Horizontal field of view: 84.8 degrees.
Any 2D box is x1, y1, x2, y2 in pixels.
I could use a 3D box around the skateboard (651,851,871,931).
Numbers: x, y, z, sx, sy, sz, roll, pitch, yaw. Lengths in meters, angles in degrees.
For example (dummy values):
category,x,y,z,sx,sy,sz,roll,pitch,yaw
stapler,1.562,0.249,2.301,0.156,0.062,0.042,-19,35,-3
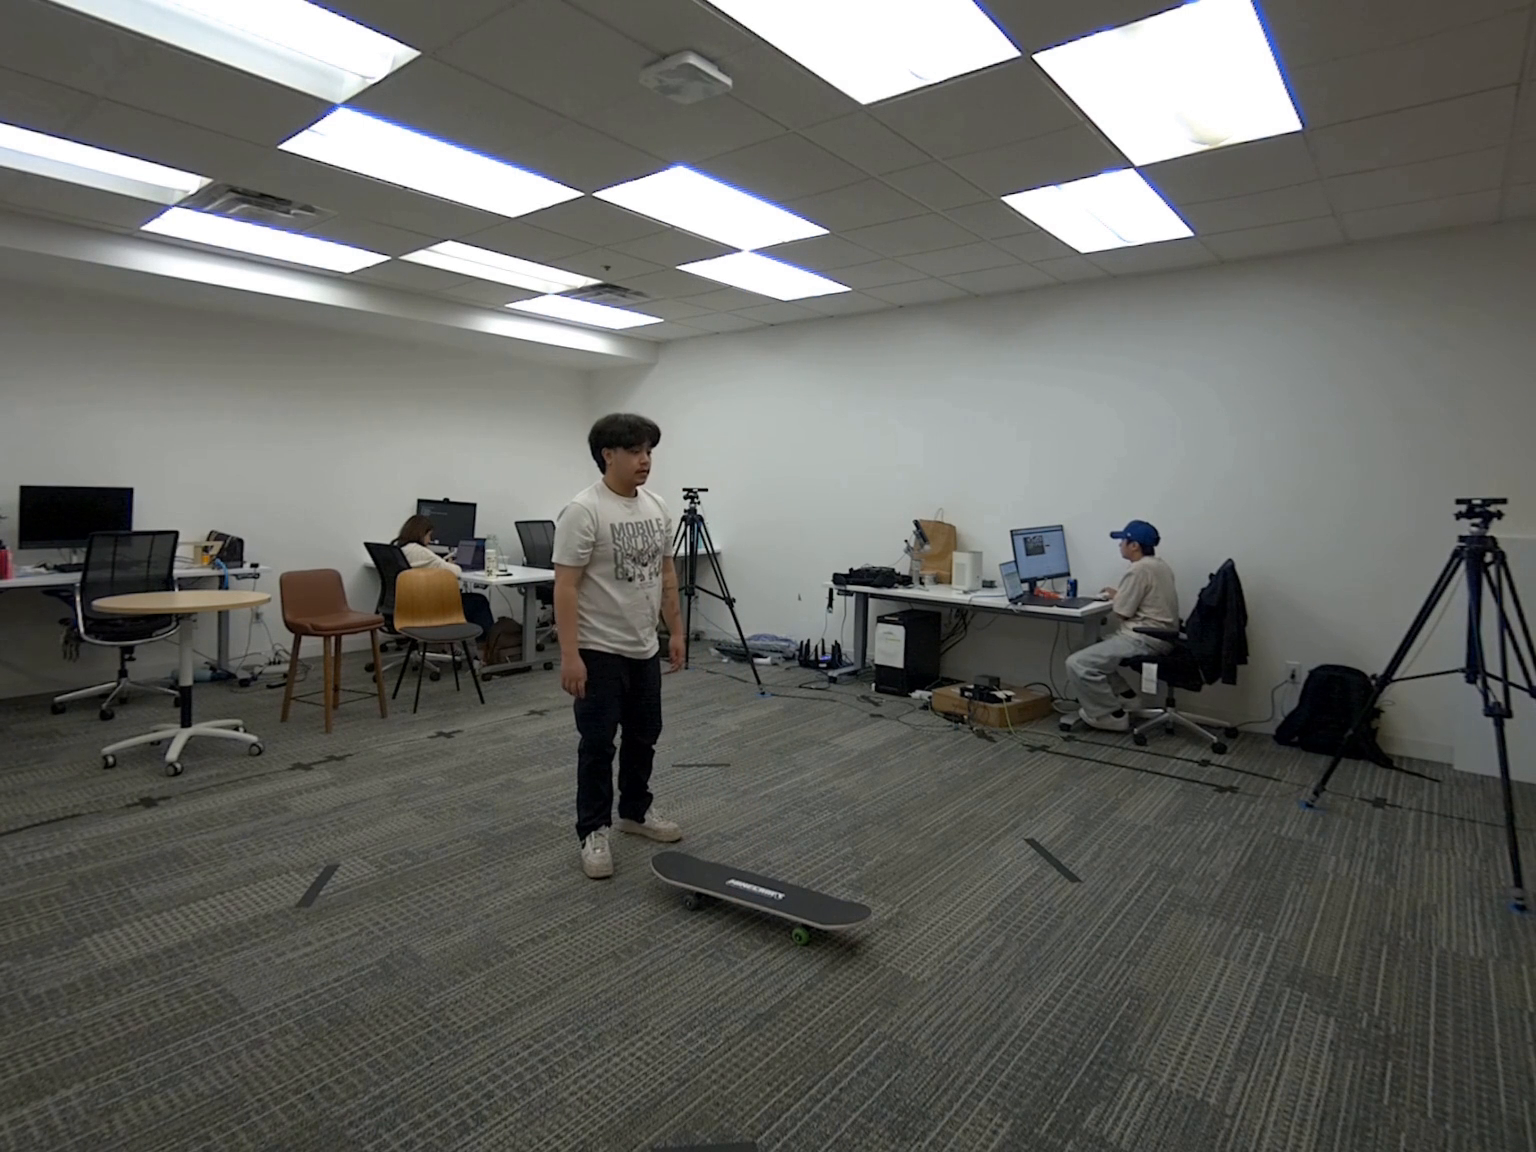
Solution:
category,x,y,z,sx,sy,sz,roll,pitch,yaw
skateboard,-0.052,1.049,2.769,0.808,0.110,0.189,4,5,29
